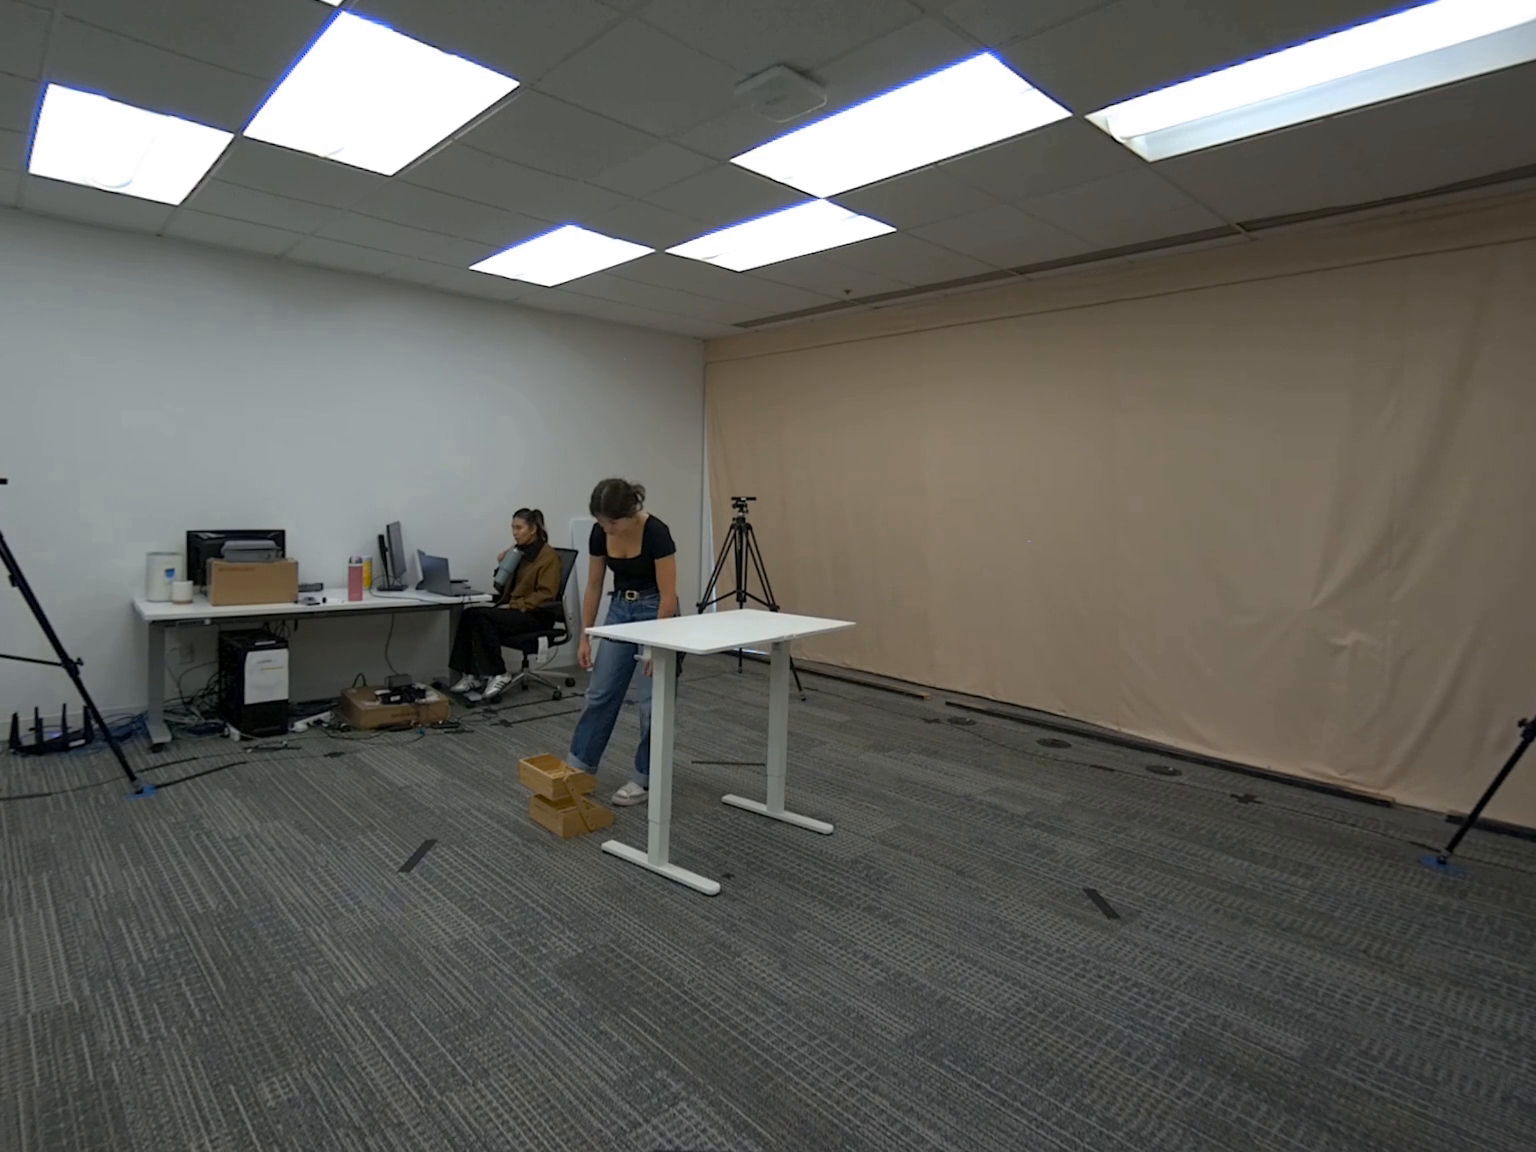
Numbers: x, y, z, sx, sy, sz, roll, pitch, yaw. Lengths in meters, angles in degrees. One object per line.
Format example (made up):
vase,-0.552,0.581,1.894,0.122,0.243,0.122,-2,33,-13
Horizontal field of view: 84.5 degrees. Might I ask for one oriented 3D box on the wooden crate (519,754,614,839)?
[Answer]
wooden crate,-0.866,0.916,3.579,0.295,0.272,0.333,-3,6,-42
